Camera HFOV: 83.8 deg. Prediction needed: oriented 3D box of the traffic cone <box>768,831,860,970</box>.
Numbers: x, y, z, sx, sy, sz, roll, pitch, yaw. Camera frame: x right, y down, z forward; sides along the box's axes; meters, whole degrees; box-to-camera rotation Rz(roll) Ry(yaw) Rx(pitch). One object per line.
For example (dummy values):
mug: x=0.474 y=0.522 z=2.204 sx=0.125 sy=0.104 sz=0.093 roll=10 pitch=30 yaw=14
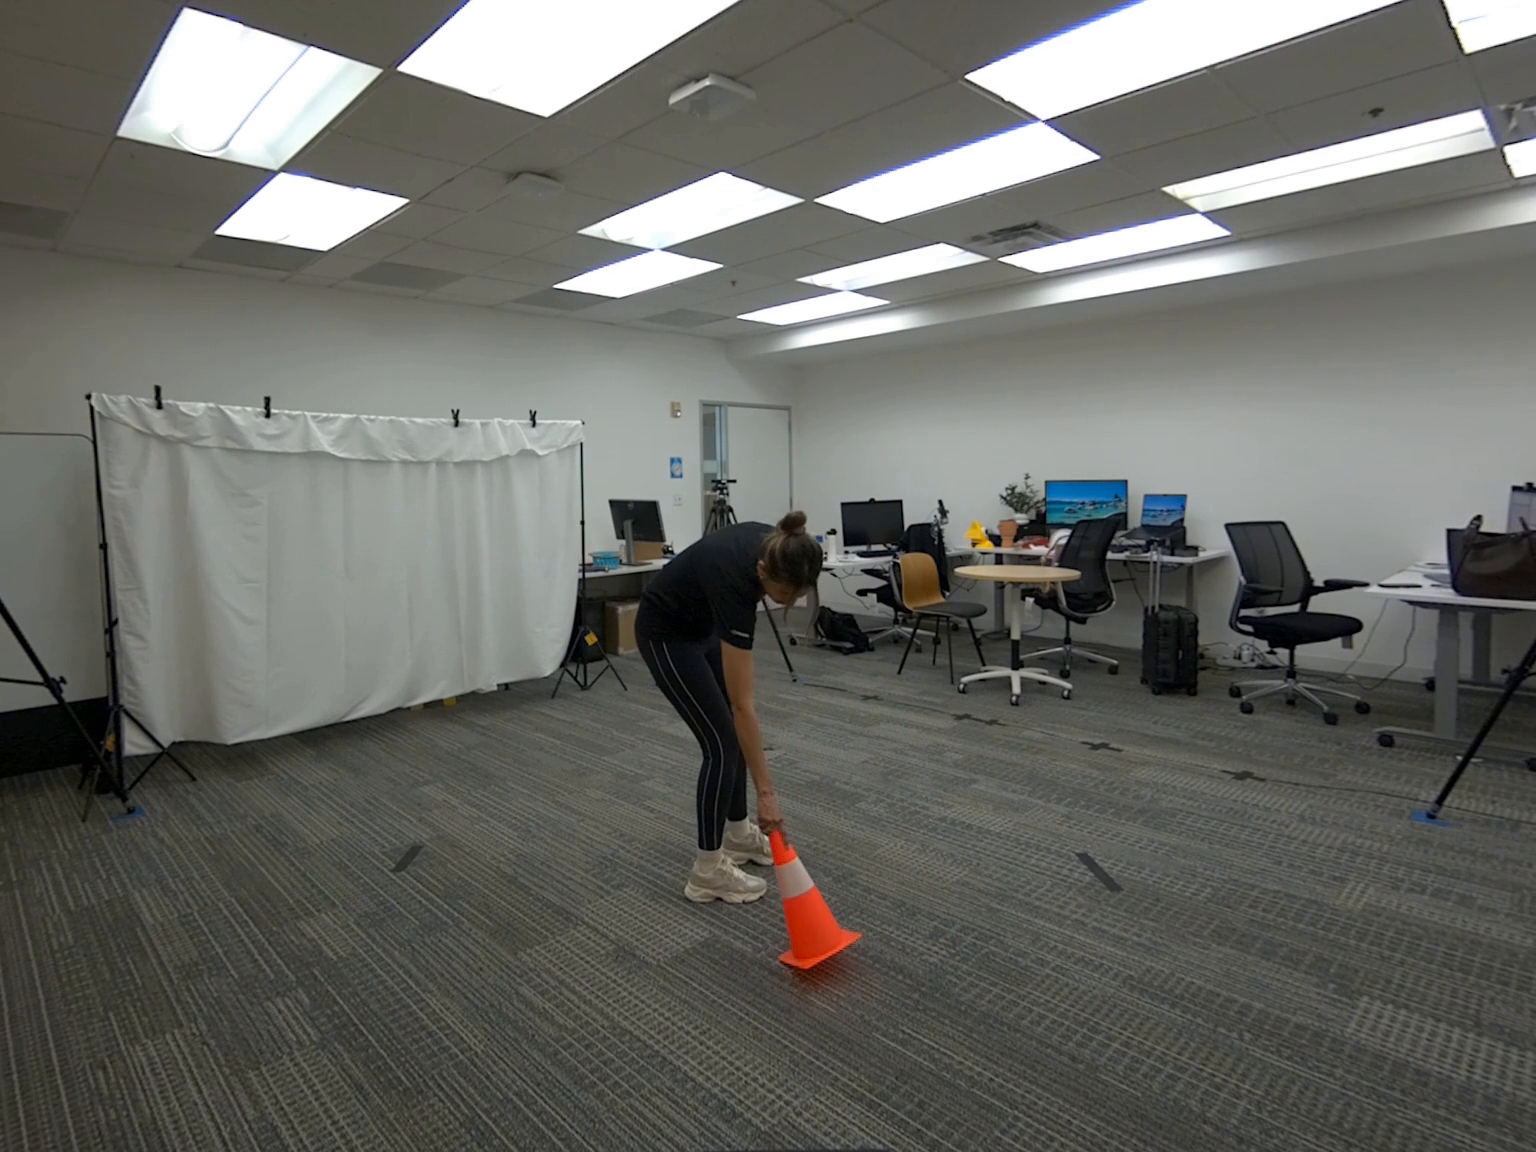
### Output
traffic cone: x=0.077 y=0.900 z=2.484 sx=0.199 sy=0.388 sz=0.206 roll=-15 pitch=-11 yaw=-31
